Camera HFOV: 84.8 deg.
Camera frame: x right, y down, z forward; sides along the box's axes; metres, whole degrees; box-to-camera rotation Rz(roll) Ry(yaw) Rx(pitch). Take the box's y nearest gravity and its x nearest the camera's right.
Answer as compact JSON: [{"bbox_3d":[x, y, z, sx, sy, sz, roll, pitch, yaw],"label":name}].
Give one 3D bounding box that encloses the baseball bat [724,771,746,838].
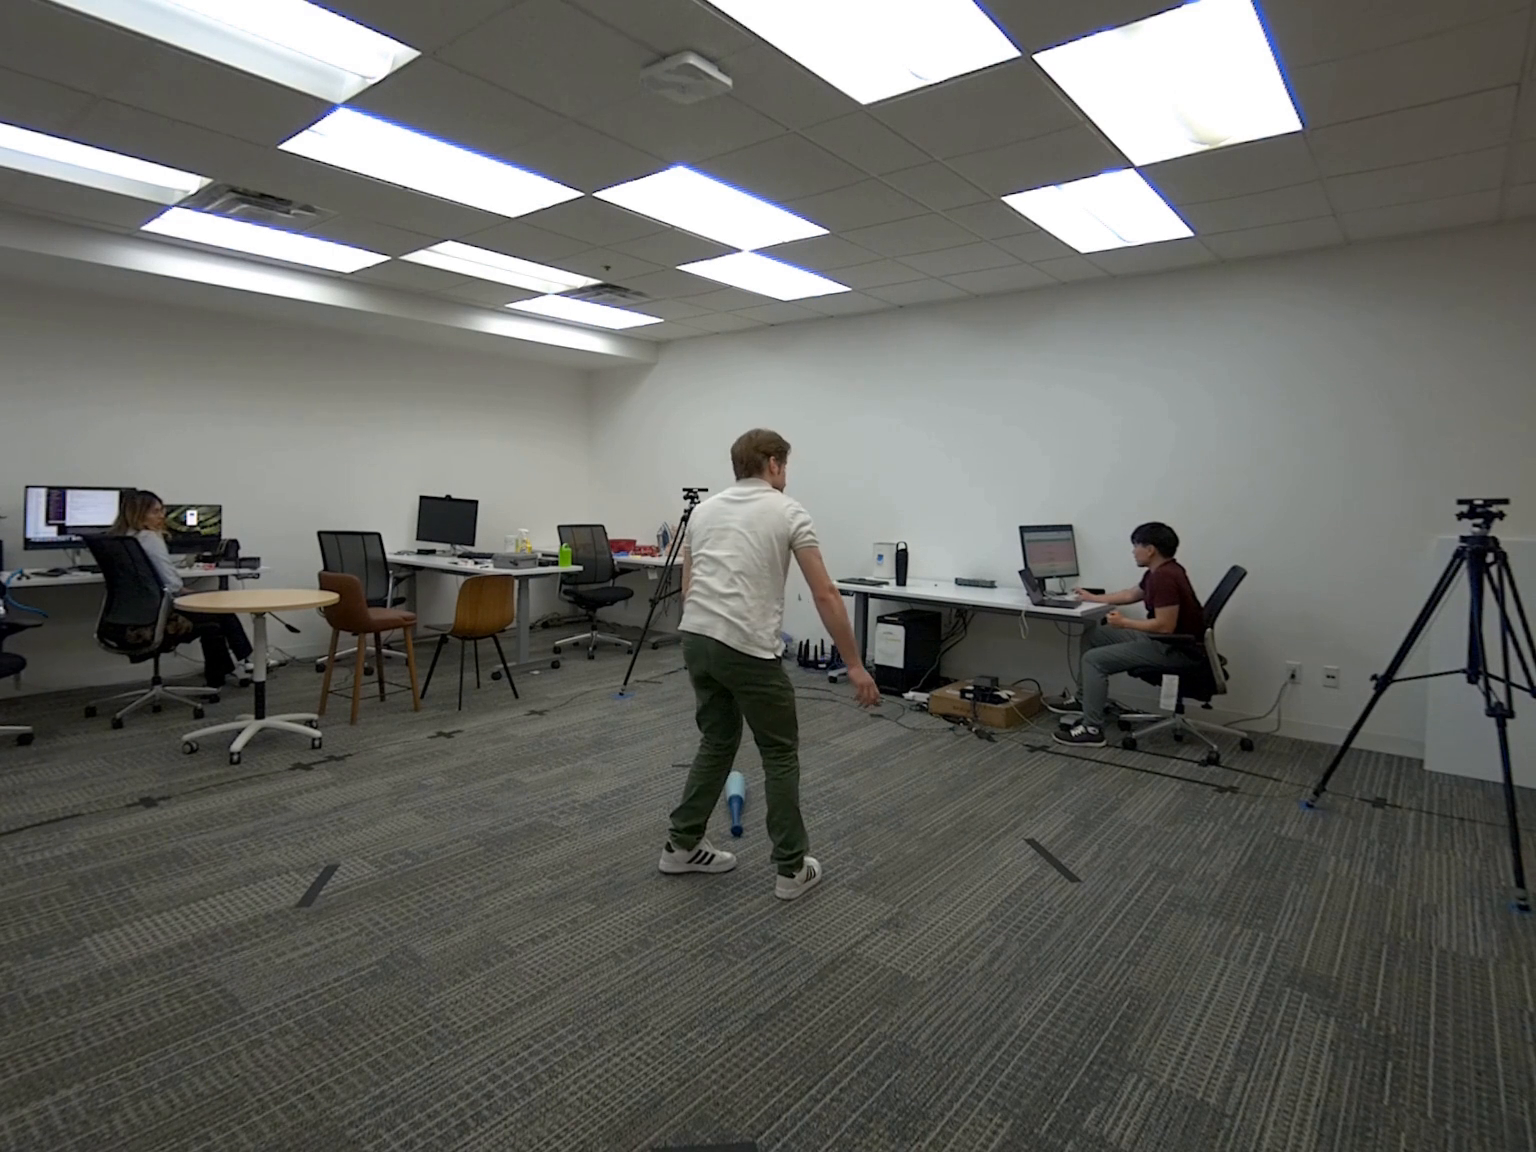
[{"bbox_3d":[-0.148,0.984,3.672,0.089,0.088,0.547,1,9,-2],"label":"baseball bat"}]
